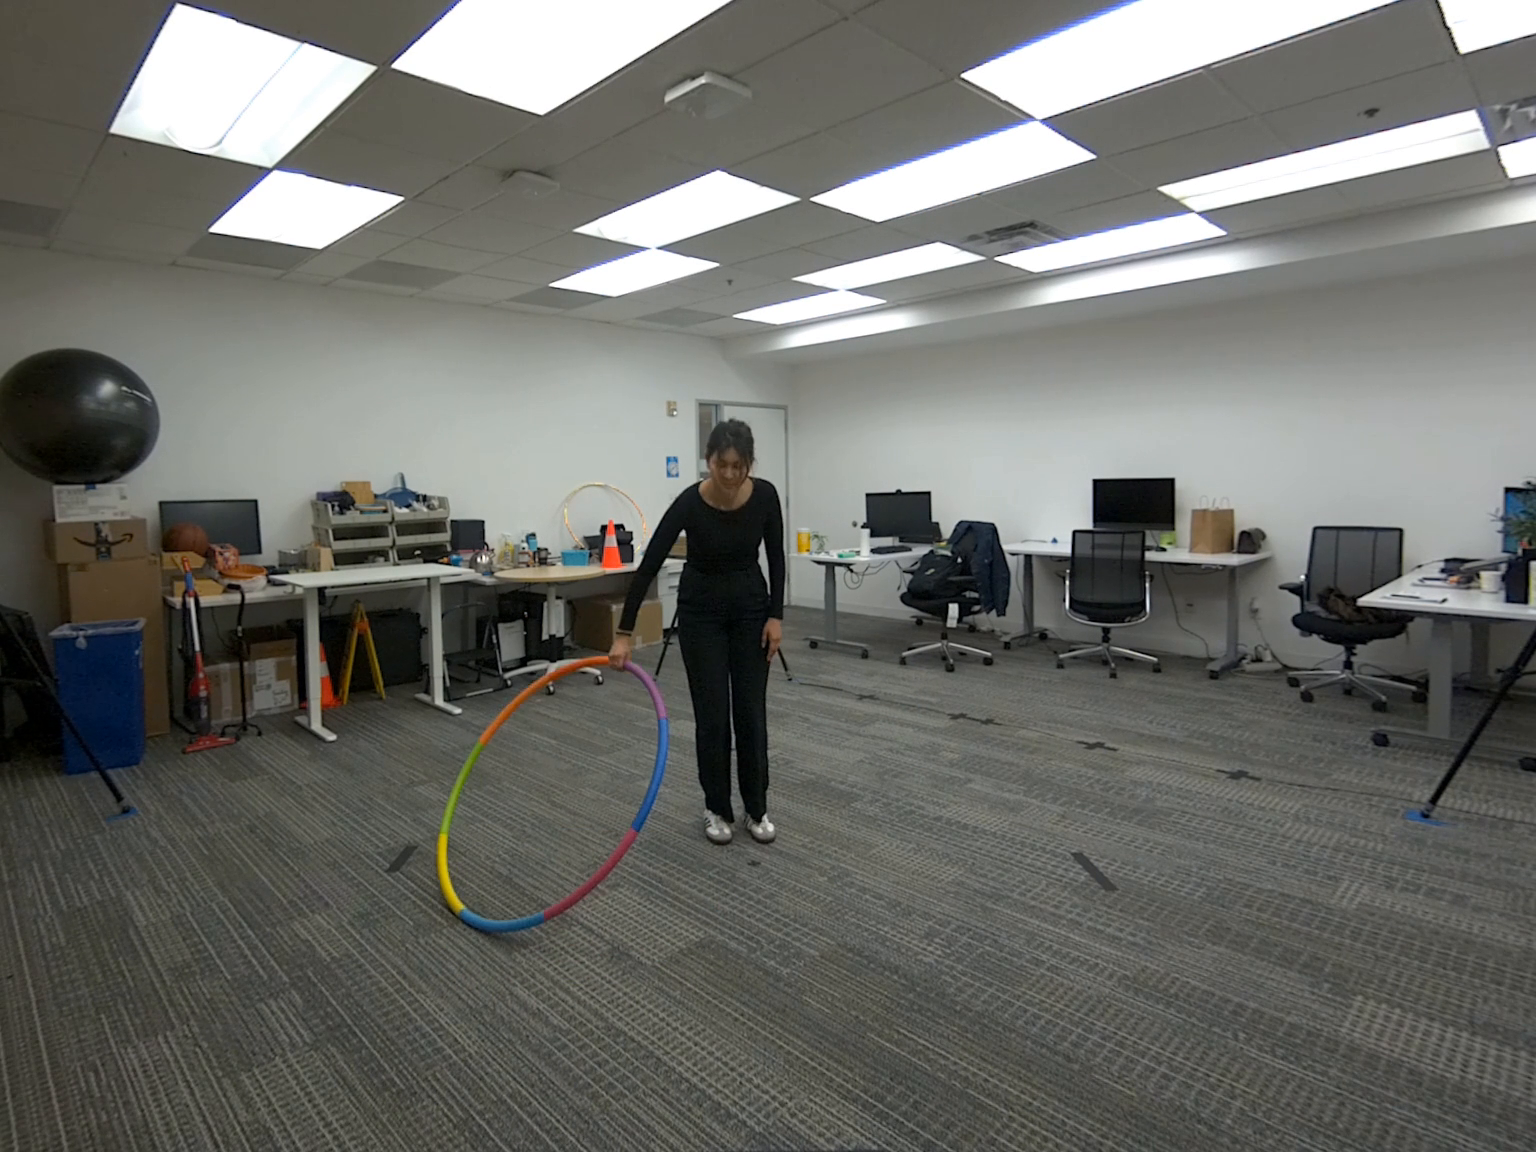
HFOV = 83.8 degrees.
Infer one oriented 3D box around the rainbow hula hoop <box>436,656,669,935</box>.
[{"bbox_3d":[-0.745,0.713,2.929,1.009,0.986,0.034,4,-35,41],"label":"rainbow hula hoop"}]
